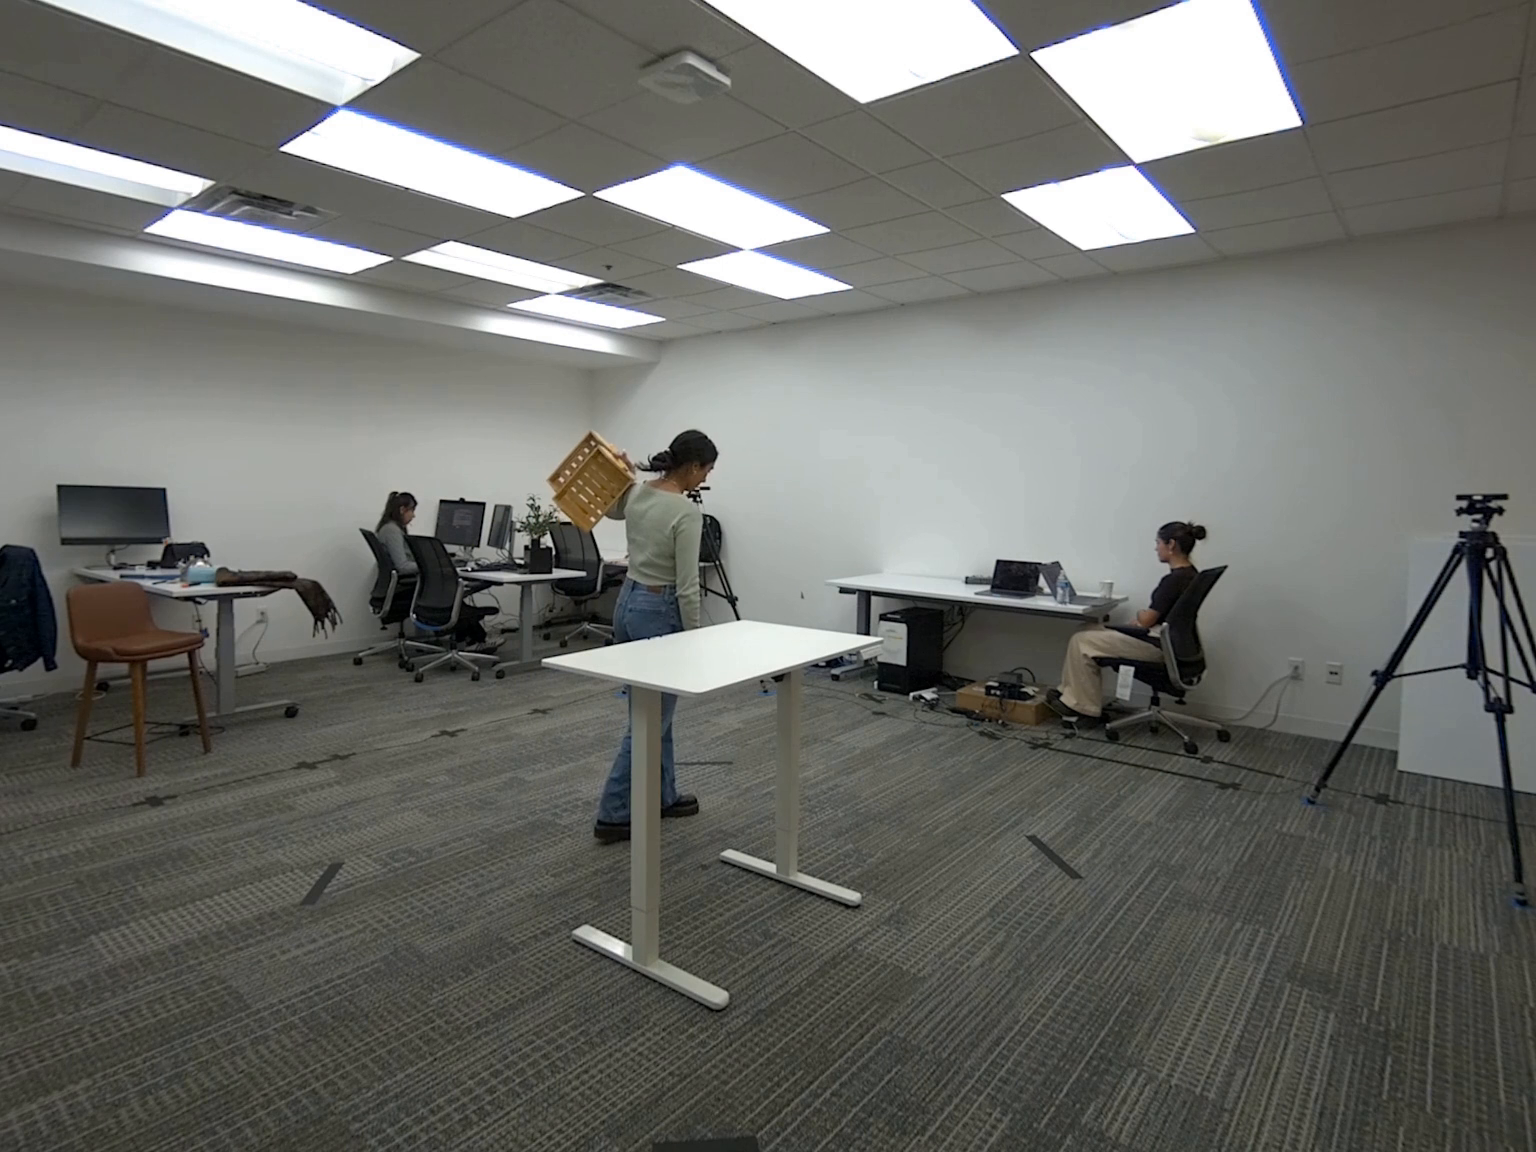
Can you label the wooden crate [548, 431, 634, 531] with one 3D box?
[{"bbox_3d":[-0.777,-0.414,3.619,0.300,0.324,0.275,42,9,-6],"label":"wooden crate"}]
